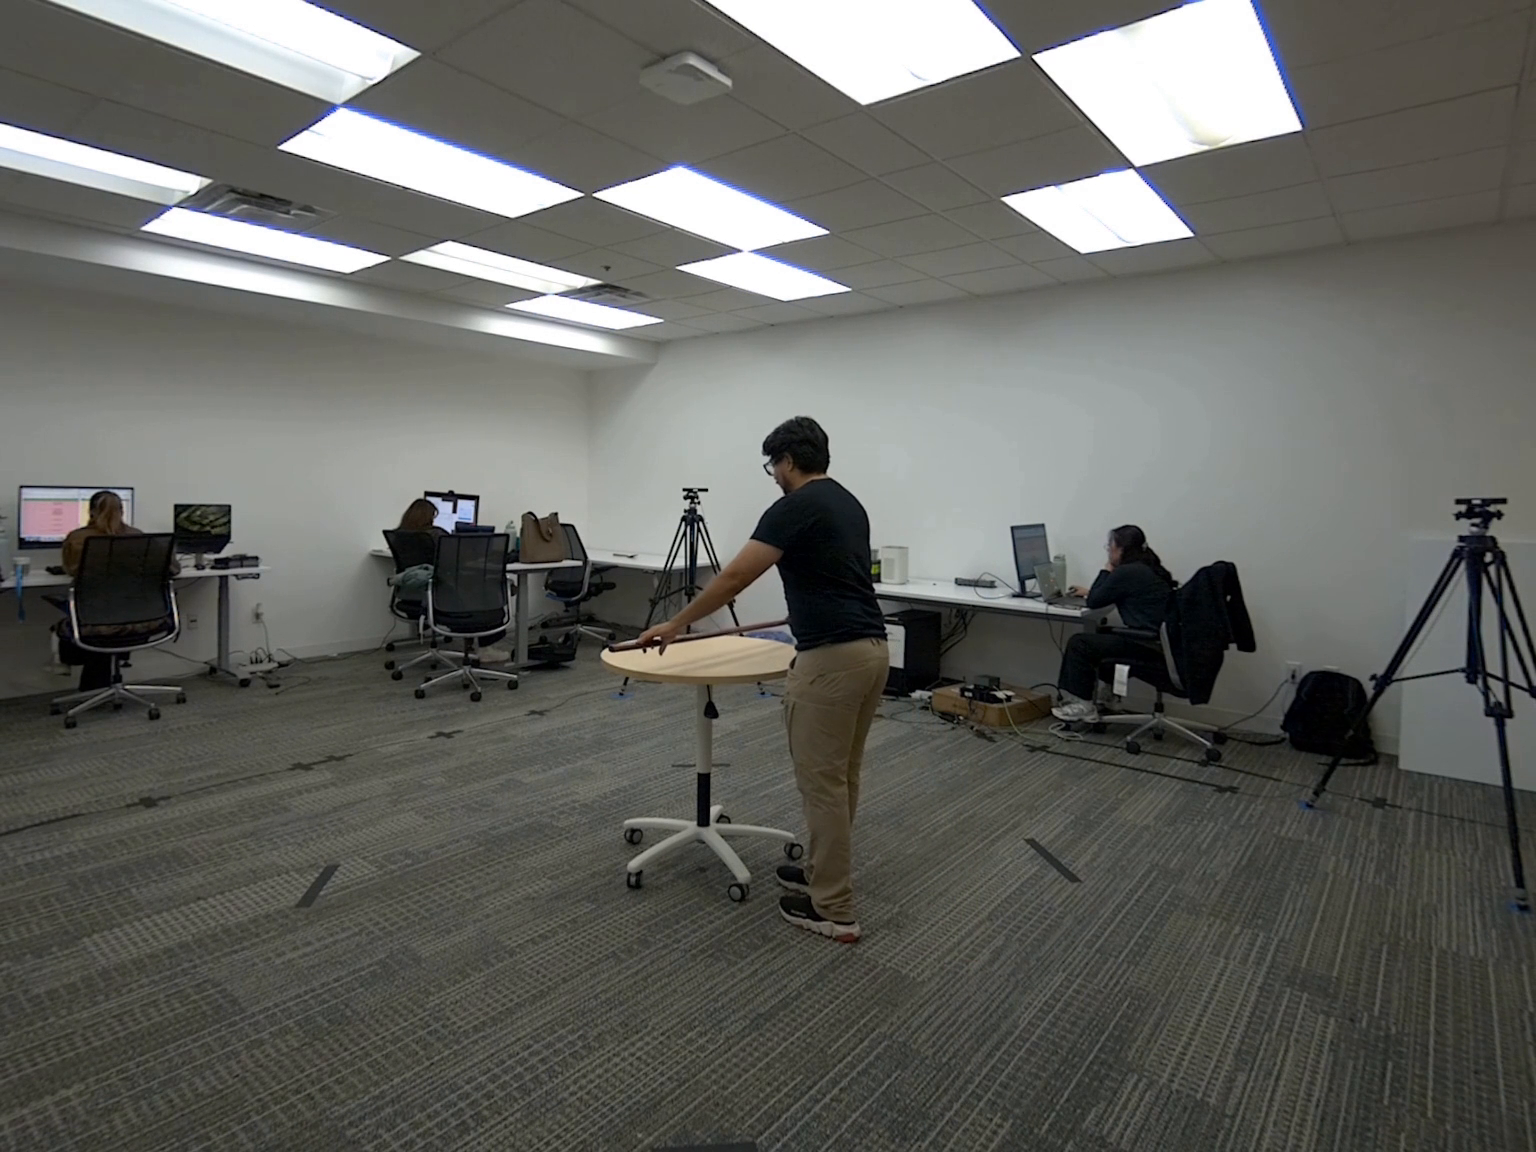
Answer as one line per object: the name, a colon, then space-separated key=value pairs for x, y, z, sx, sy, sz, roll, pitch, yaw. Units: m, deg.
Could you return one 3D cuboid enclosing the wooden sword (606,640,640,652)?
wooden sword: x=-0.204 y=0.219 z=3.006 sx=0.025 sy=0.051 sz=0.996 roll=6 pitch=8 yaw=35
